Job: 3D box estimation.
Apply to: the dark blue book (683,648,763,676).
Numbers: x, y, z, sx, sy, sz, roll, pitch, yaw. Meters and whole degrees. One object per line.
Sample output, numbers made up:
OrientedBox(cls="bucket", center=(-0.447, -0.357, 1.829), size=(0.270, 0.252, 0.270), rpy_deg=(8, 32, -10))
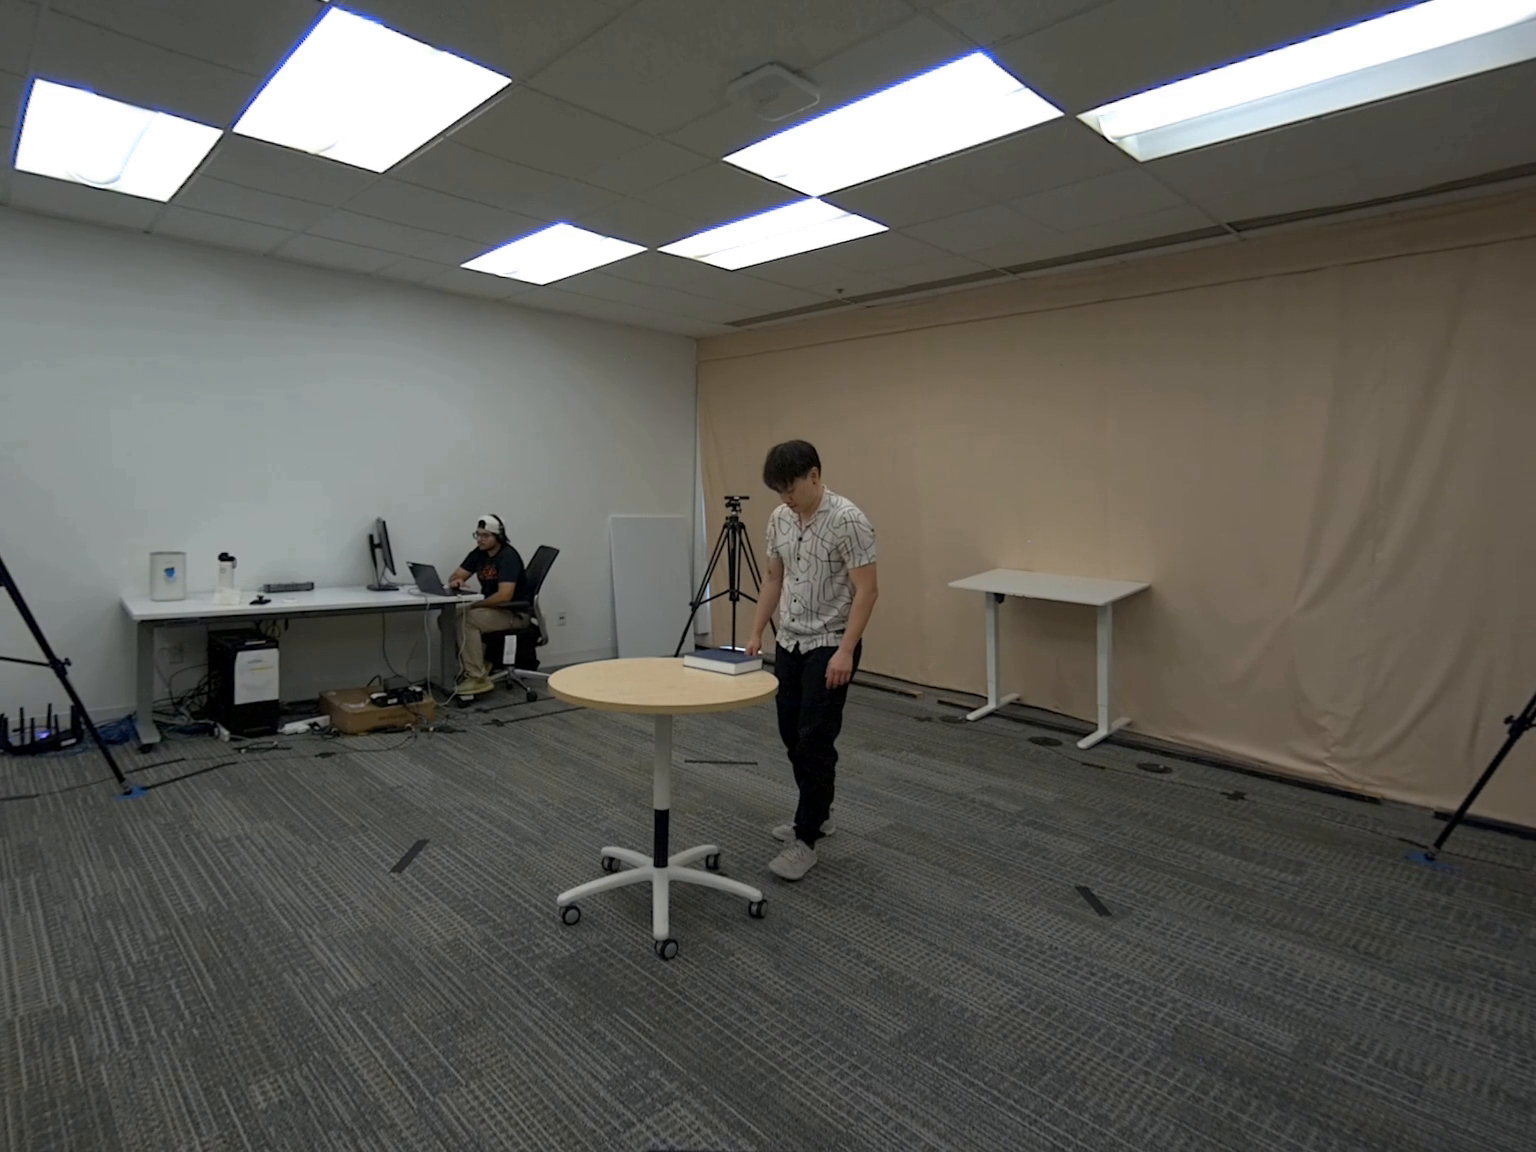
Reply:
OrientedBox(cls="dark blue book", center=(-0.170, 0.310, 3.032), size=(0.251, 0.045, 0.160), rpy_deg=(5, 6, 37))
